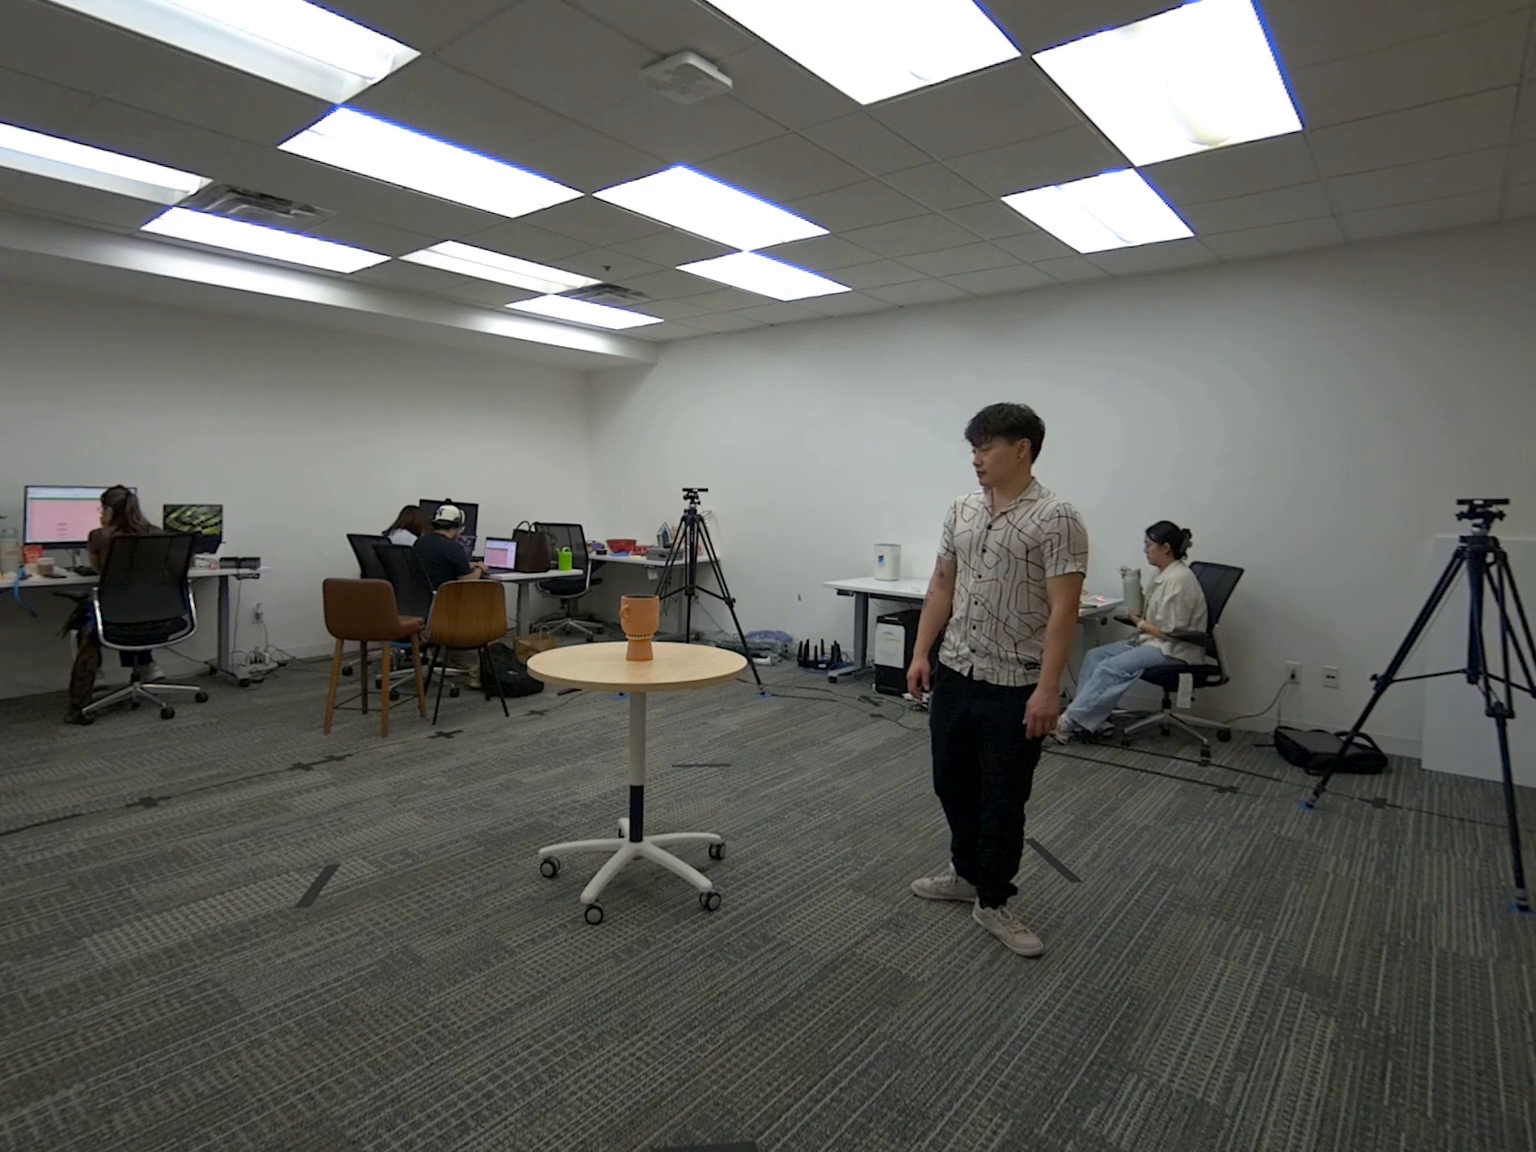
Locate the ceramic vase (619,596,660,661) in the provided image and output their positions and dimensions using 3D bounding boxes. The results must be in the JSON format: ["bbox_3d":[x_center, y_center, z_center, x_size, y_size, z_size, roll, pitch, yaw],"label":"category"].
[{"bbox_3d":[-0.467,0.183,3.008,0.156,0.219,0.137,-2,4,-16],"label":"ceramic vase"}]
